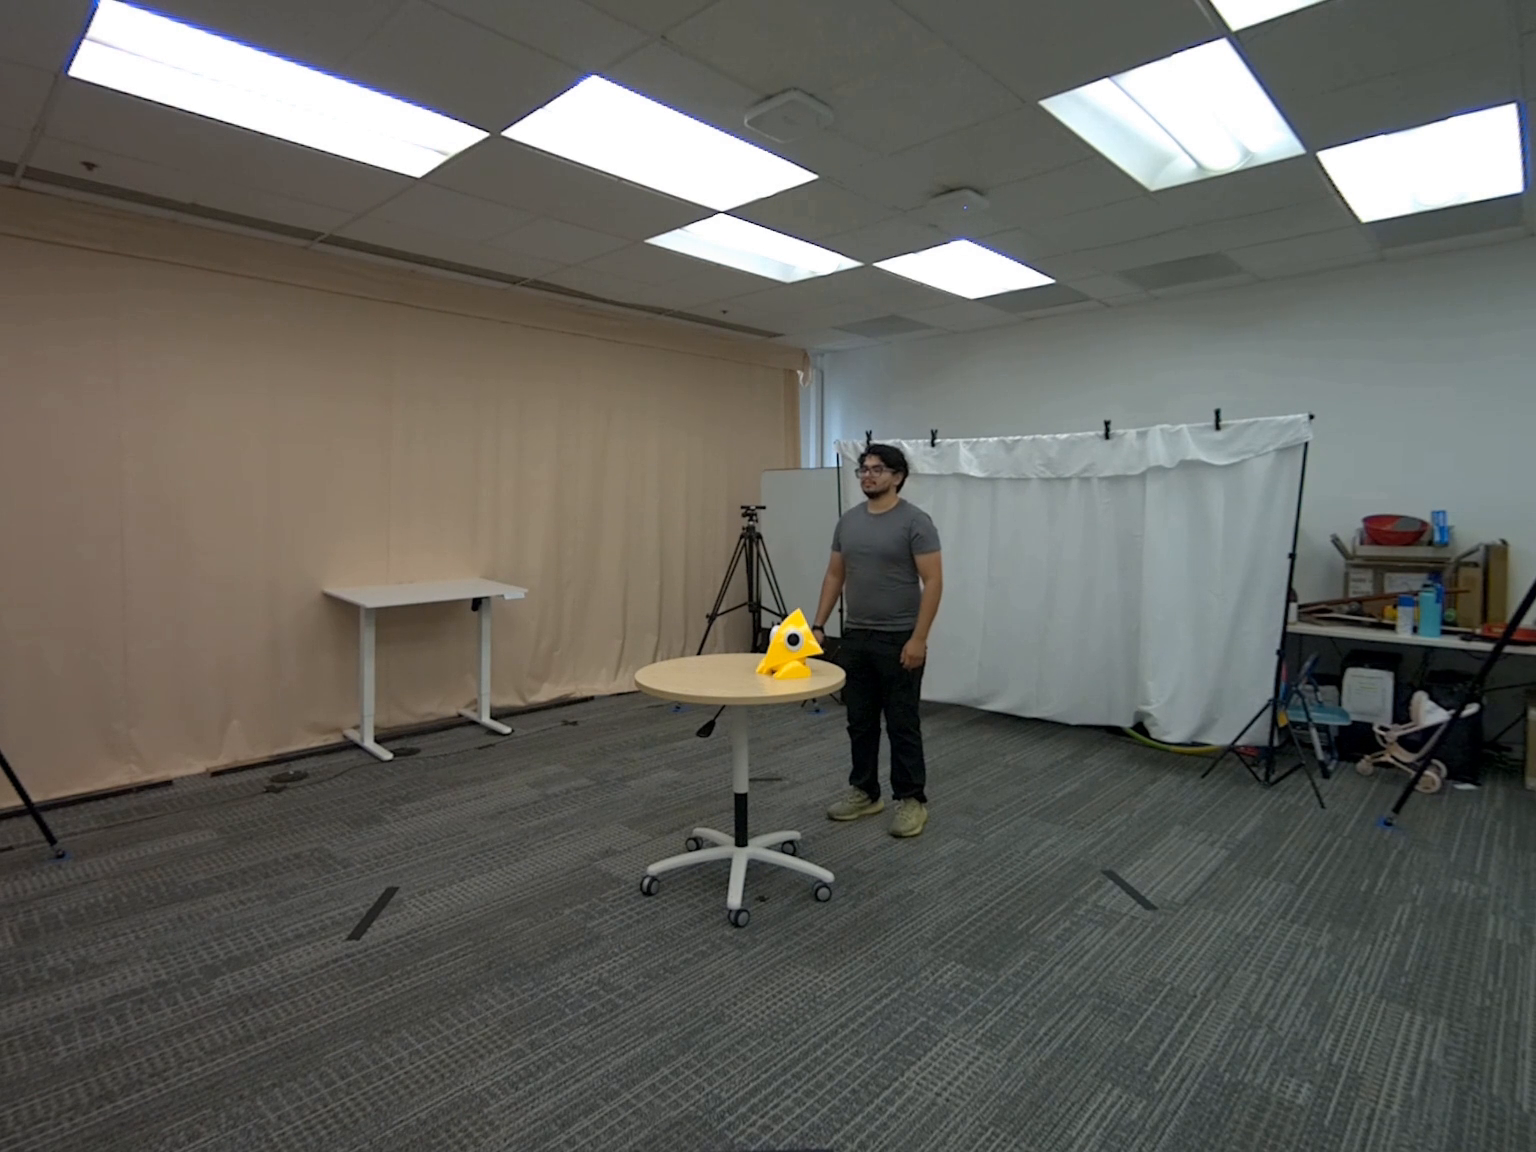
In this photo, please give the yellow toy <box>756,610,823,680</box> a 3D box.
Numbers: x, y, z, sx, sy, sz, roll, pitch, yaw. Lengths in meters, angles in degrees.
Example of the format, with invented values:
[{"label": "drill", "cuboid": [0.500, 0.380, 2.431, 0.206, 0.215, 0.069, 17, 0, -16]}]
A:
[{"label": "yellow toy", "cuboid": [0.070, 0.238, 3.051, 0.188, 0.230, 0.211, -3, 5, -32]}]
